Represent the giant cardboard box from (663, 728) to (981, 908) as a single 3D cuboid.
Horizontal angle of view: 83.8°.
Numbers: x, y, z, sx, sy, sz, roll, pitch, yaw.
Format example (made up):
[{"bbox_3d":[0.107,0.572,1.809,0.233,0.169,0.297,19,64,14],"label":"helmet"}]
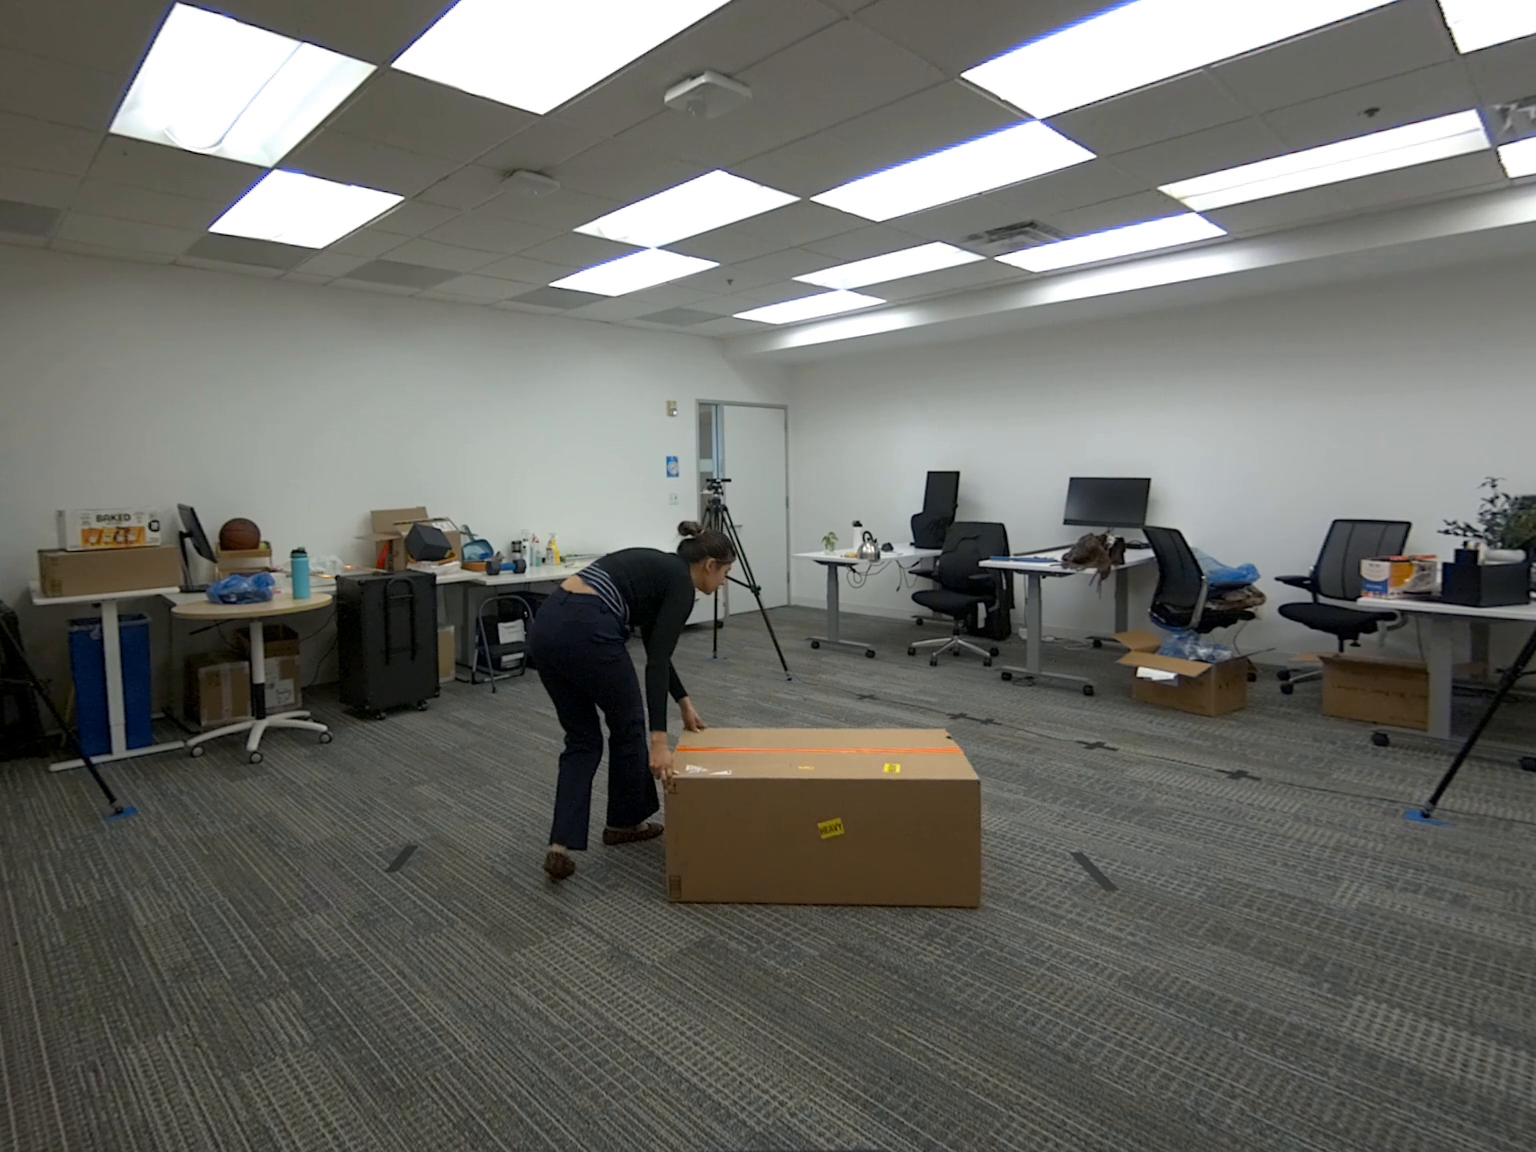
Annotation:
[{"bbox_3d":[0.174,0.828,3.060,1.029,0.424,0.578,-1,5,3],"label":"giant cardboard box"}]
